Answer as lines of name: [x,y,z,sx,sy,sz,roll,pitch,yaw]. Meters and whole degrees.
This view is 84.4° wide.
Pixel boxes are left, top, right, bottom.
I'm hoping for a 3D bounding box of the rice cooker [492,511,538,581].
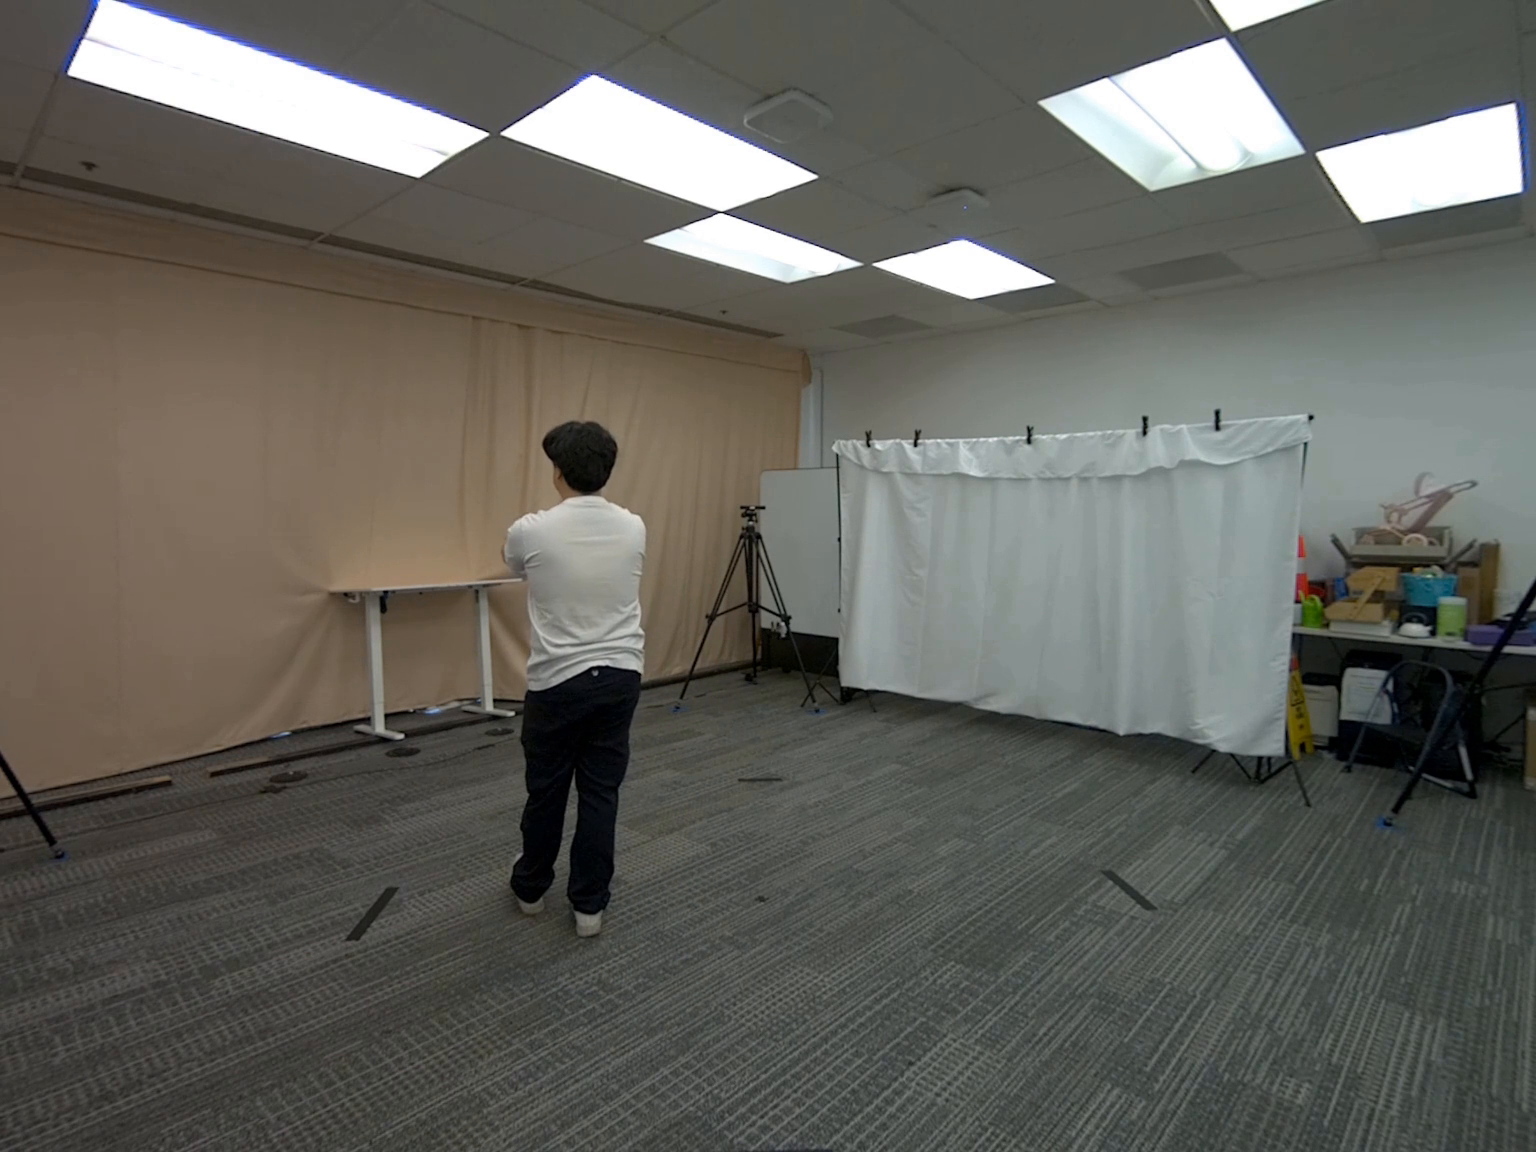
rice cooker: [-0.912,-0.120,3.293,0.224,0.231,0.215,6,10,28]
